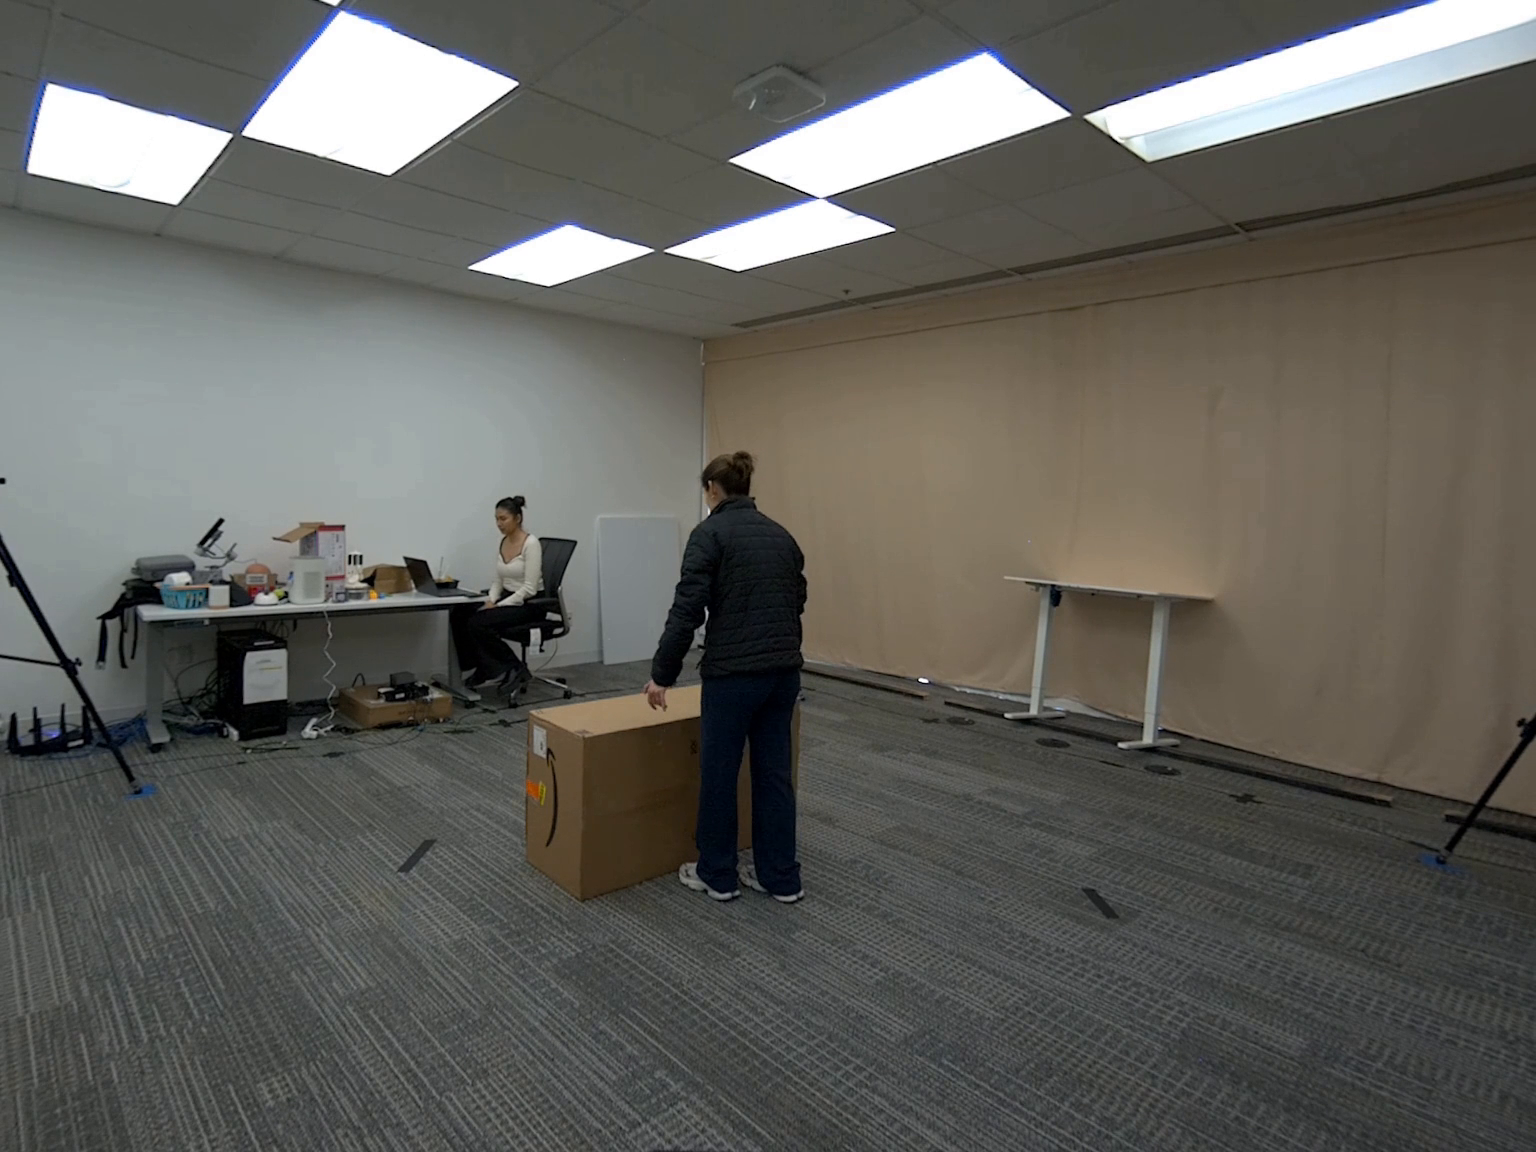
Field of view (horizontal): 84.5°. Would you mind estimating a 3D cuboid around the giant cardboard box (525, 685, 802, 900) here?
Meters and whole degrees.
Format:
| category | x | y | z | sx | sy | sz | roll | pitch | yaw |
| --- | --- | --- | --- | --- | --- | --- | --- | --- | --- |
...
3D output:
| category | x | y | z | sx | sy | sz | roll | pitch | yaw |
| --- | --- | --- | --- | --- | --- | --- | --- | --- | --- |
| giant cardboard box | -0.404 | 0.794 | 3.335 | 1.004 | 0.582 | 0.458 | -2 | 6 | -40 |
